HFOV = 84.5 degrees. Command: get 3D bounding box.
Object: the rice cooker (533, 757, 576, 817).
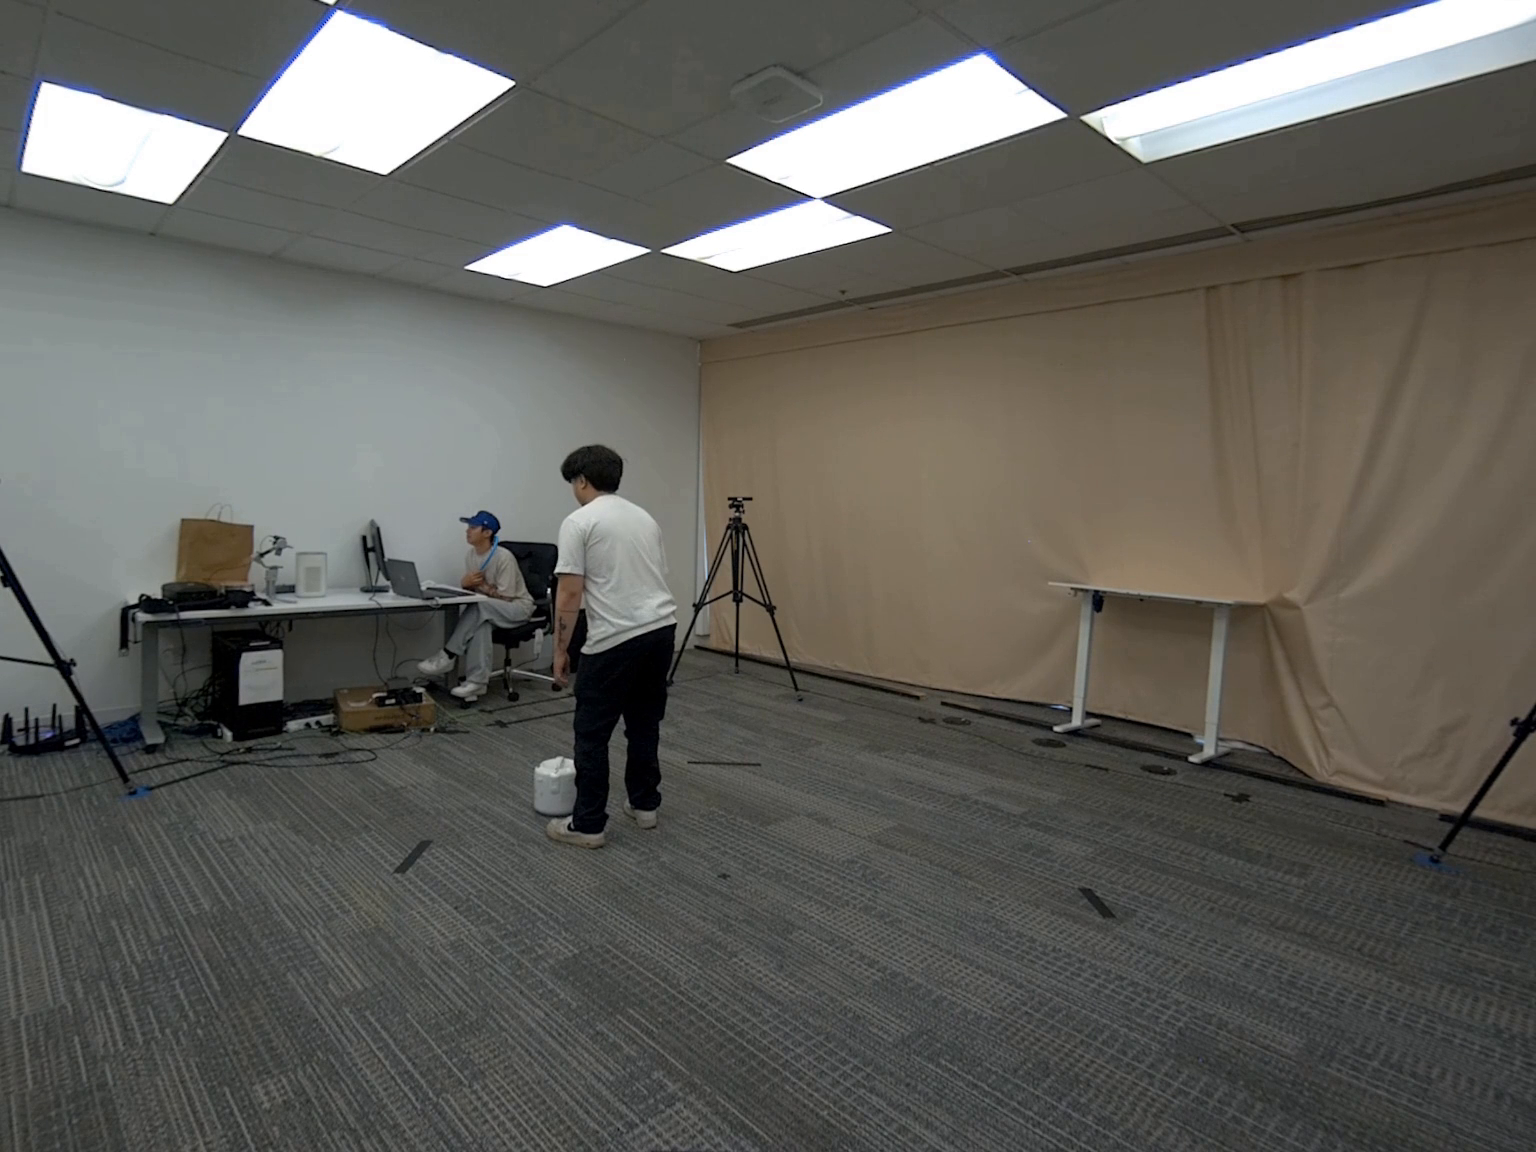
[{"bbox_3d":[-0.928,0.913,3.719,0.217,0.232,0.221,0,4,-1],"label":"rice cooker"}]
